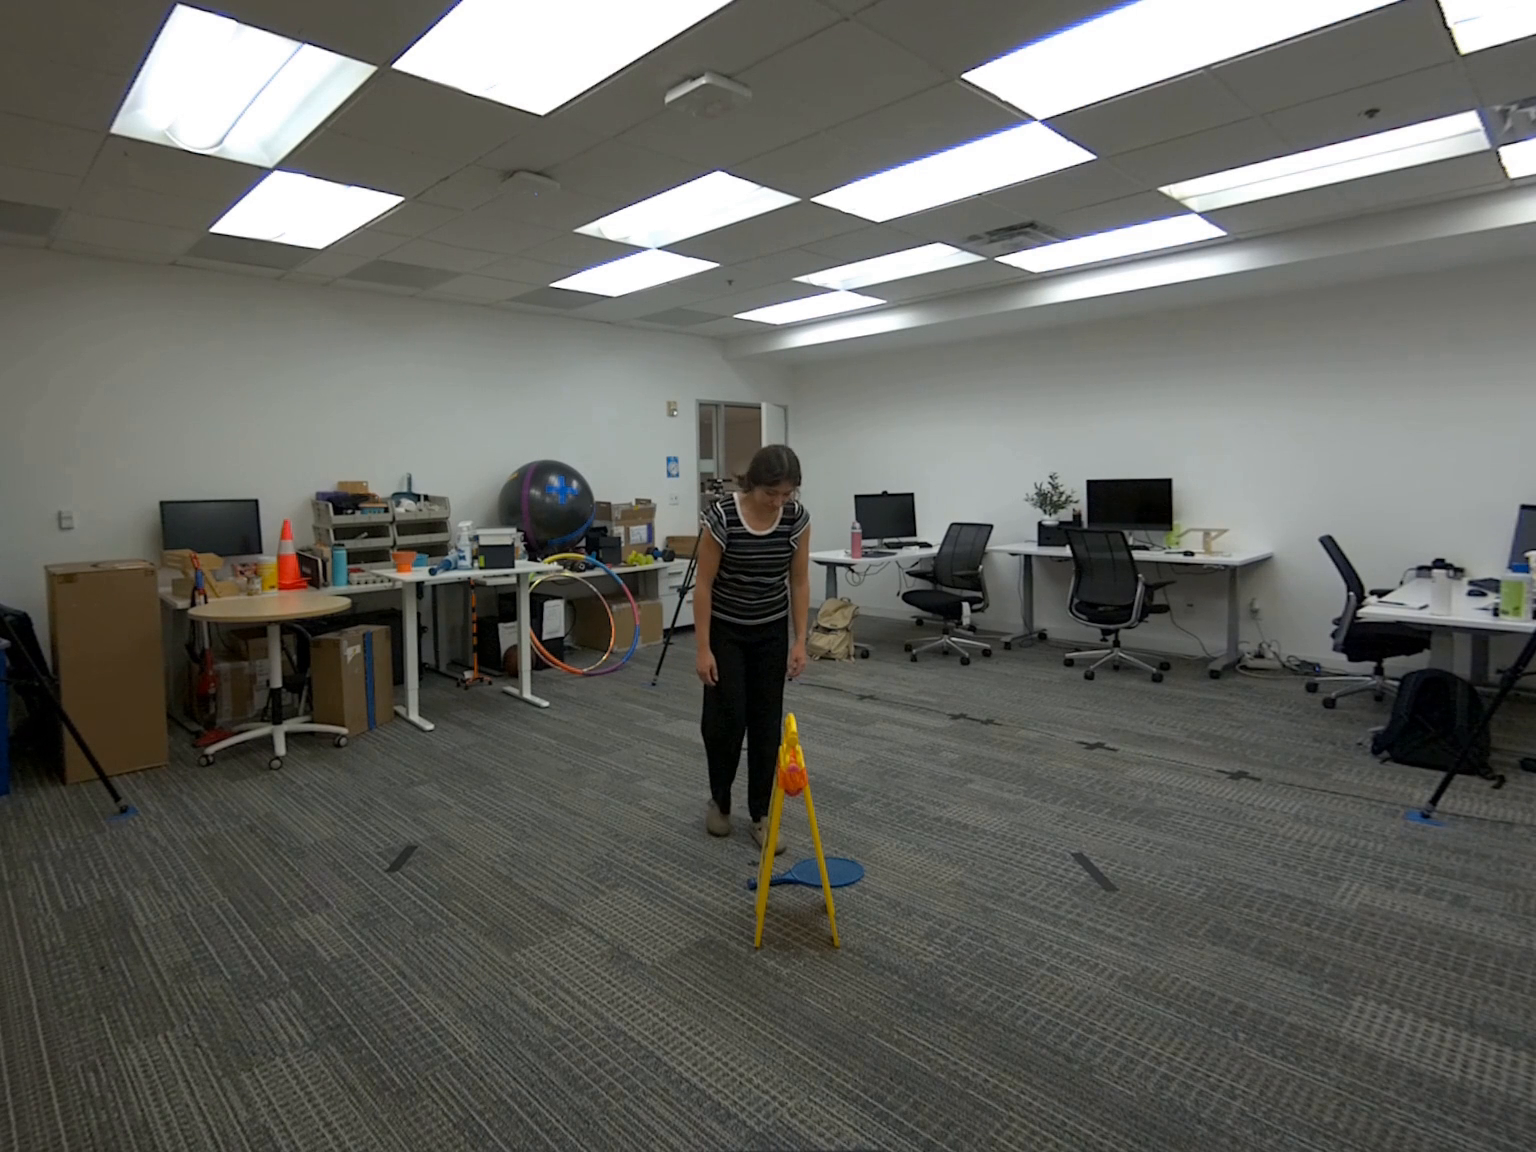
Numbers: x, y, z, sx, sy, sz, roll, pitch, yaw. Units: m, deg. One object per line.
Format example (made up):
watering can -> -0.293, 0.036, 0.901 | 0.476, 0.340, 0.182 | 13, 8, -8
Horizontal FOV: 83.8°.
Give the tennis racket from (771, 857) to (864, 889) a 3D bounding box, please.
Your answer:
tennis racket -> 0.134, 1.037, 2.987 | 0.425, 0.031, 0.218 | -2, 6, -20
